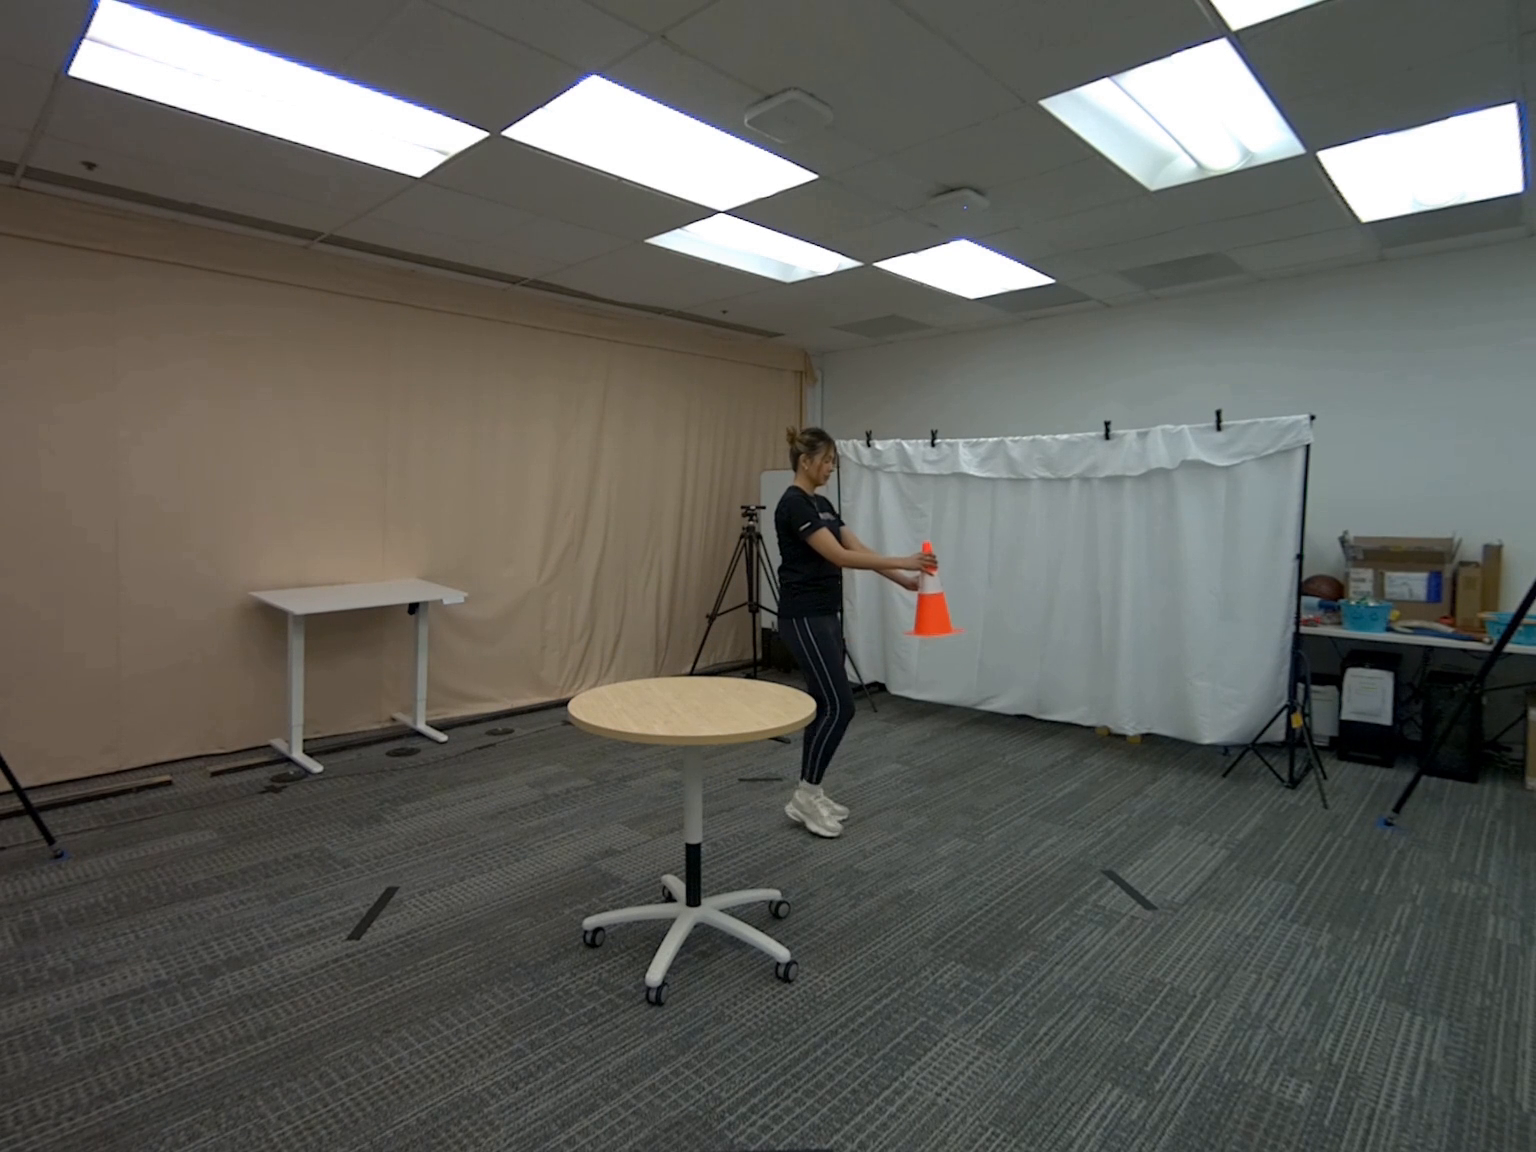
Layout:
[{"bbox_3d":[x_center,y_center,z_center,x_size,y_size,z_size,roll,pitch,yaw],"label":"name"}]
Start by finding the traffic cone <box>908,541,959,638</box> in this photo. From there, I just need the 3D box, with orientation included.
[{"bbox_3d":[0.688,0.048,3.542,0.197,0.383,0.211,-9,5,-40],"label":"traffic cone"}]
